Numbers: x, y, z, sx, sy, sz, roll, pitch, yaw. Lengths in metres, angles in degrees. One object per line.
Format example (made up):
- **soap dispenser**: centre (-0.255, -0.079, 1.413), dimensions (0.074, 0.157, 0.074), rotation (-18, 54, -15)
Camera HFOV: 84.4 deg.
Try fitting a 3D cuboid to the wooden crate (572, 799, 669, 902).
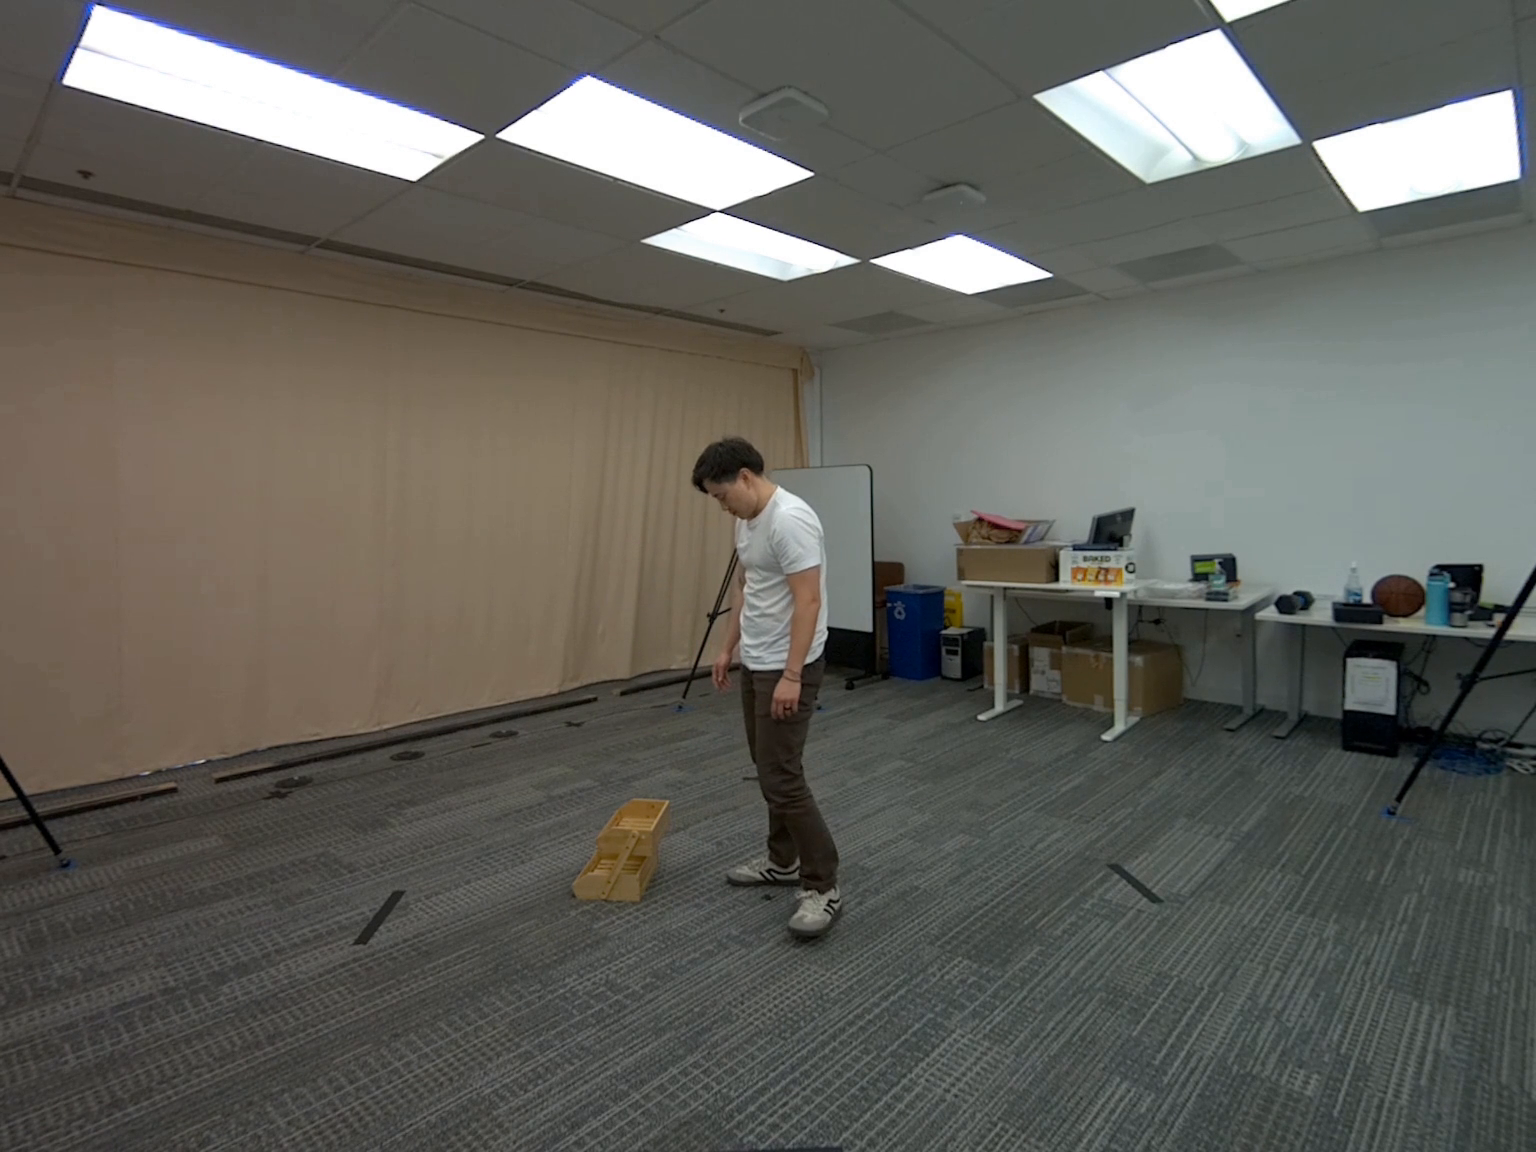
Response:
- **wooden crate**: centre (-0.543, 1.008, 3.126), dimensions (0.304, 0.273, 0.323), rotation (-1, 4, 6)
